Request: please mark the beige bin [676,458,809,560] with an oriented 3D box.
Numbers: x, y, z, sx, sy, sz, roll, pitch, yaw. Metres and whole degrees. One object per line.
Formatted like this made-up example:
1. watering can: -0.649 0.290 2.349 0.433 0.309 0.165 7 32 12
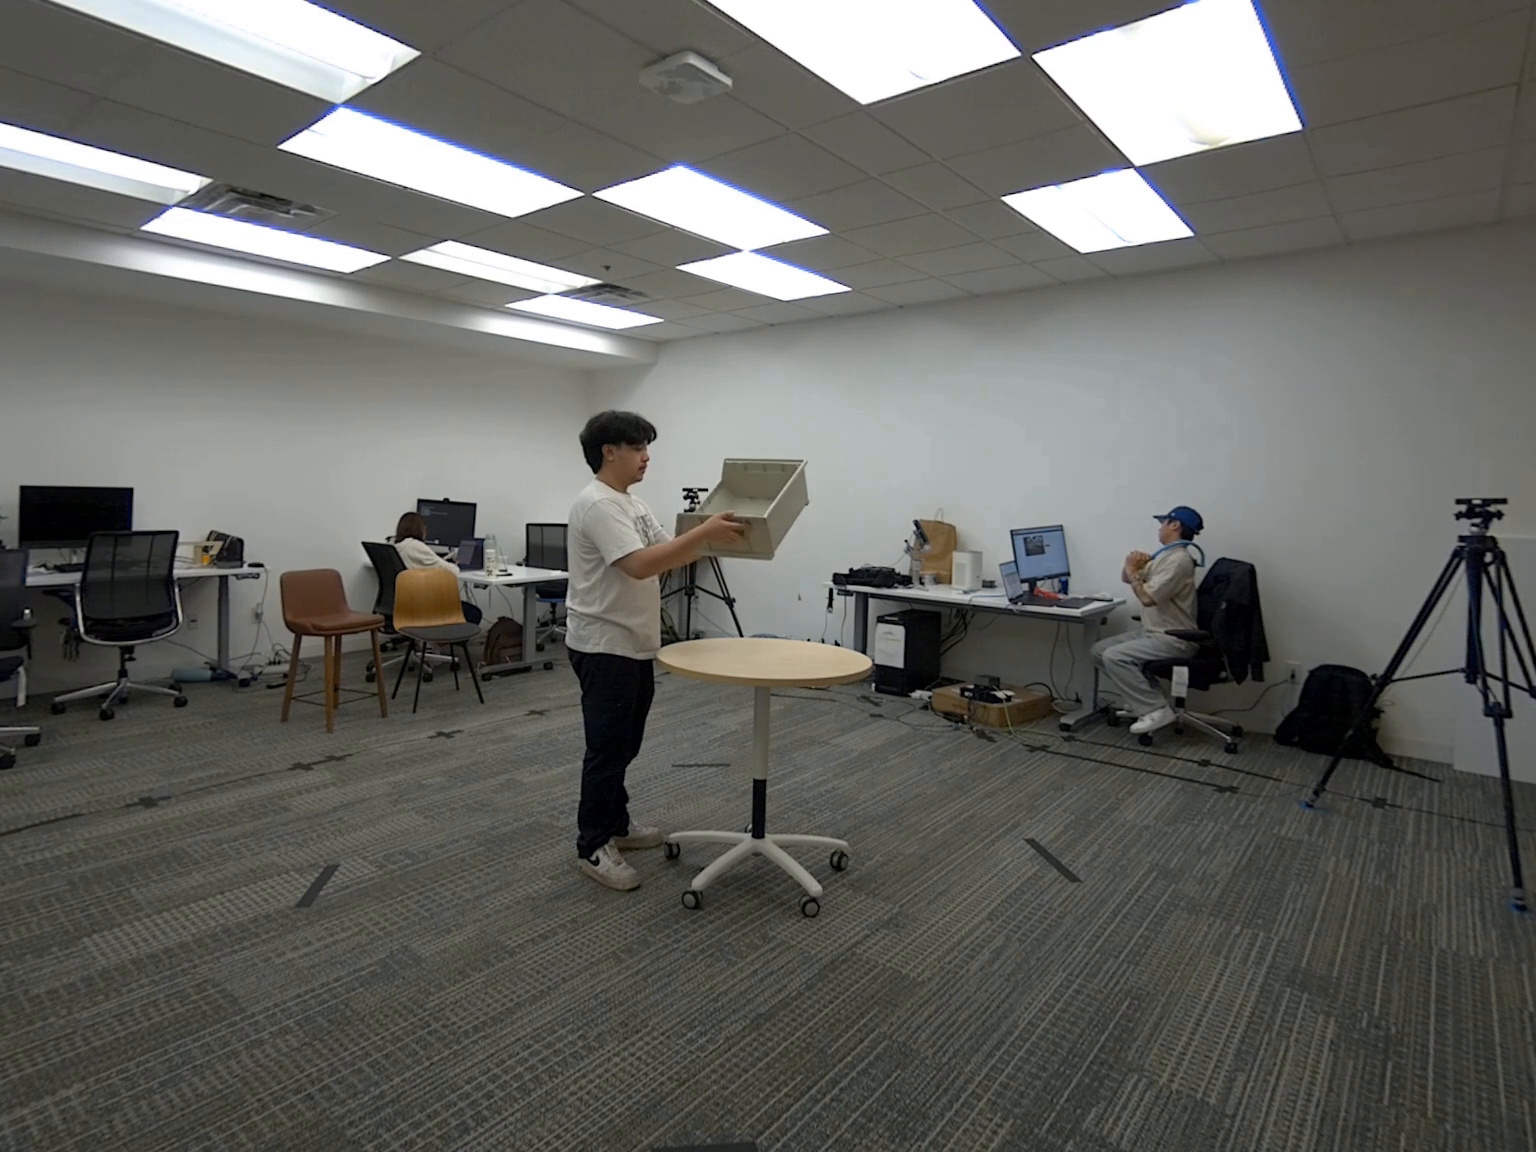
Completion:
1. beige bin: -0.101 -0.260 3.136 0.387 0.183 0.424 4 35 24
